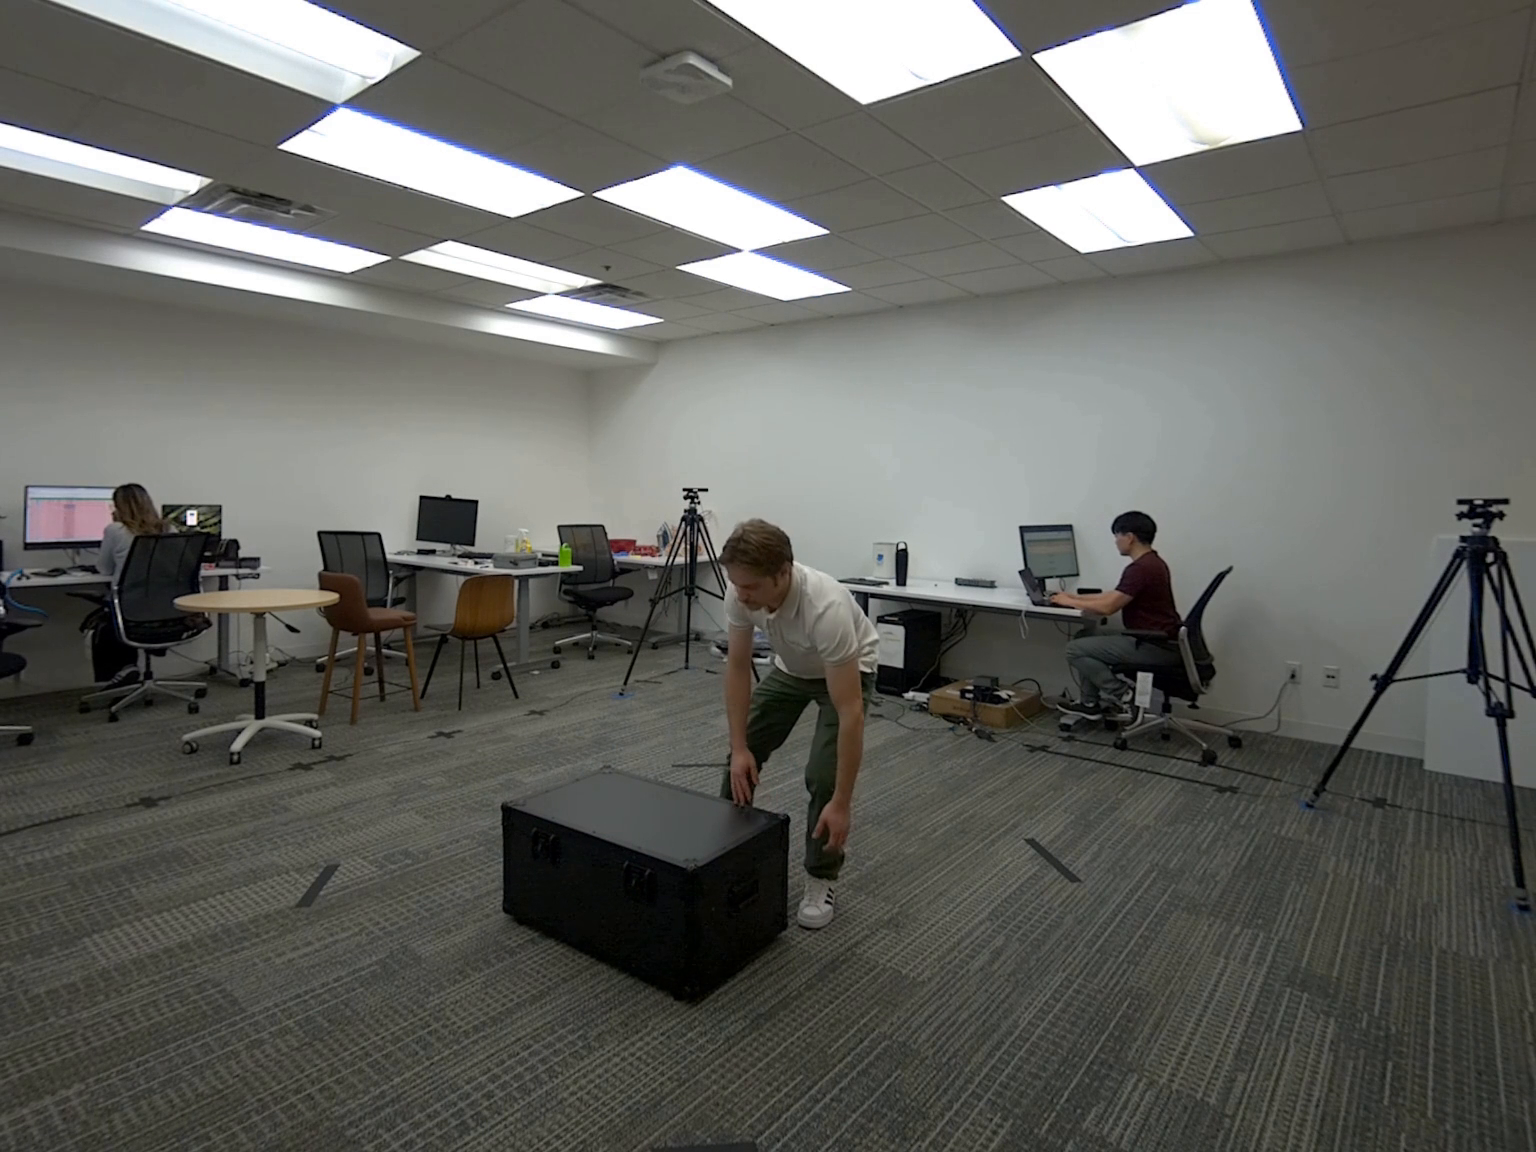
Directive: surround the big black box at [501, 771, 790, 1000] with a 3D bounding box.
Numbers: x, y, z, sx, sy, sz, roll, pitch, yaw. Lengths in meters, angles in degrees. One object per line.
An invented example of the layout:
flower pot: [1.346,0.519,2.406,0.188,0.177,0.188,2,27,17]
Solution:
big black box: [-0.426,0.906,2.703,0.896,0.383,0.509,4,7,35]
